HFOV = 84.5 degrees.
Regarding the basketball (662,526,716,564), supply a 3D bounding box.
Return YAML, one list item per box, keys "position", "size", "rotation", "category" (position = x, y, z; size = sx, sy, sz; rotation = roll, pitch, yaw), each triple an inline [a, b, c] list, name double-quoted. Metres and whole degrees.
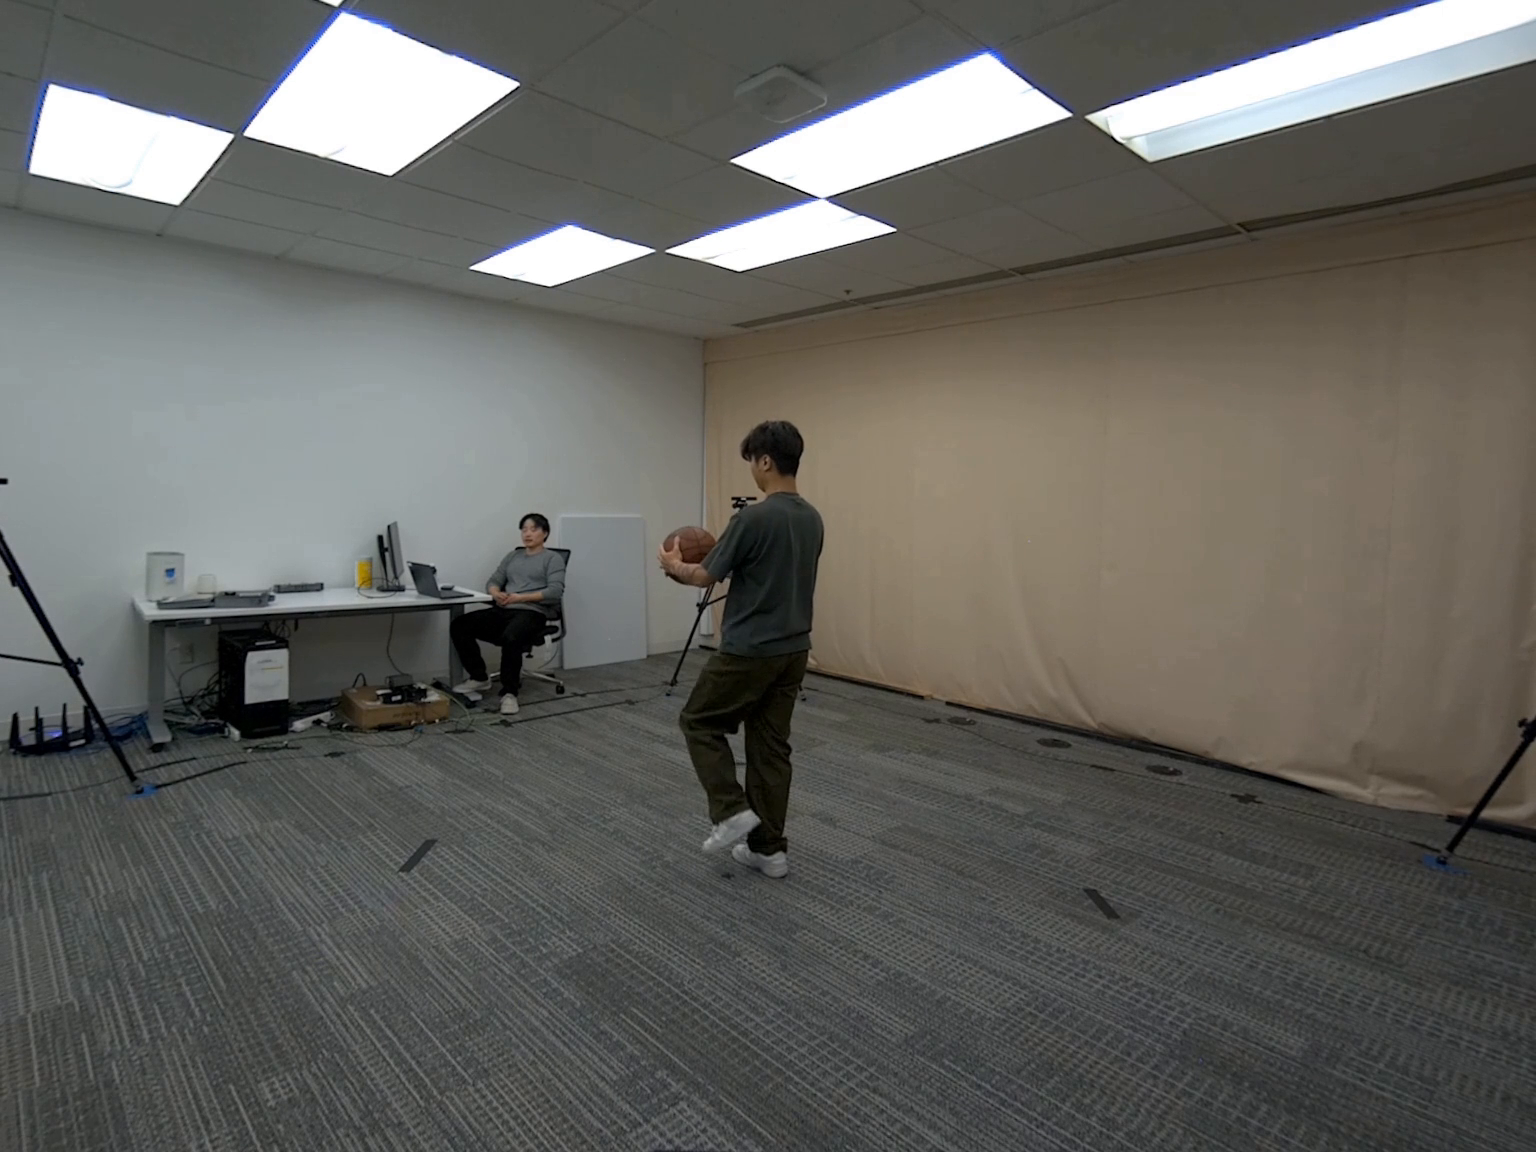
- position: [-0.318, -0.080, 3.391]
  size: [0.236, 0.235, 0.237]
  rotation: [1, 4, -1]
  category: "basketball"
